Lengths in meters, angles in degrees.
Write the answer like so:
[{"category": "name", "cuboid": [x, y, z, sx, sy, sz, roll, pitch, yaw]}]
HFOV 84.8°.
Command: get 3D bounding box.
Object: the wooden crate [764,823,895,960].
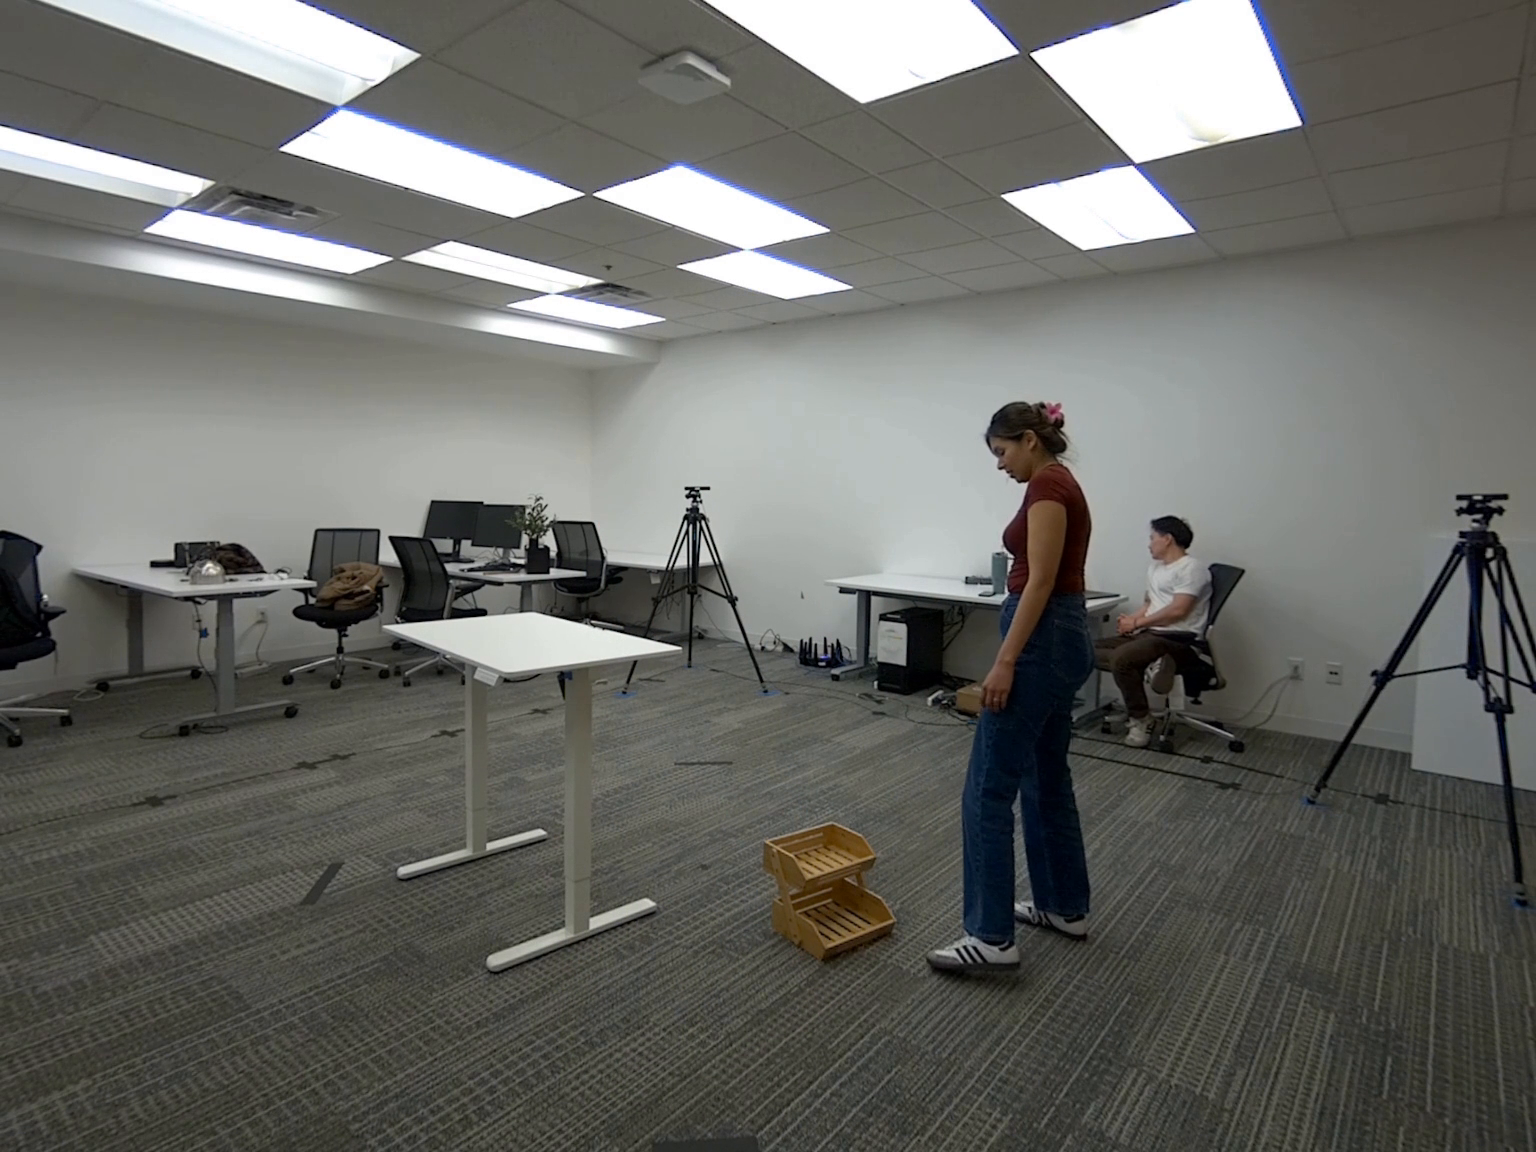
[{"category": "wooden crate", "cuboid": [0.189, 0.980, 2.693, 0.315, 0.272, 0.312, -2, 5, -37]}]
